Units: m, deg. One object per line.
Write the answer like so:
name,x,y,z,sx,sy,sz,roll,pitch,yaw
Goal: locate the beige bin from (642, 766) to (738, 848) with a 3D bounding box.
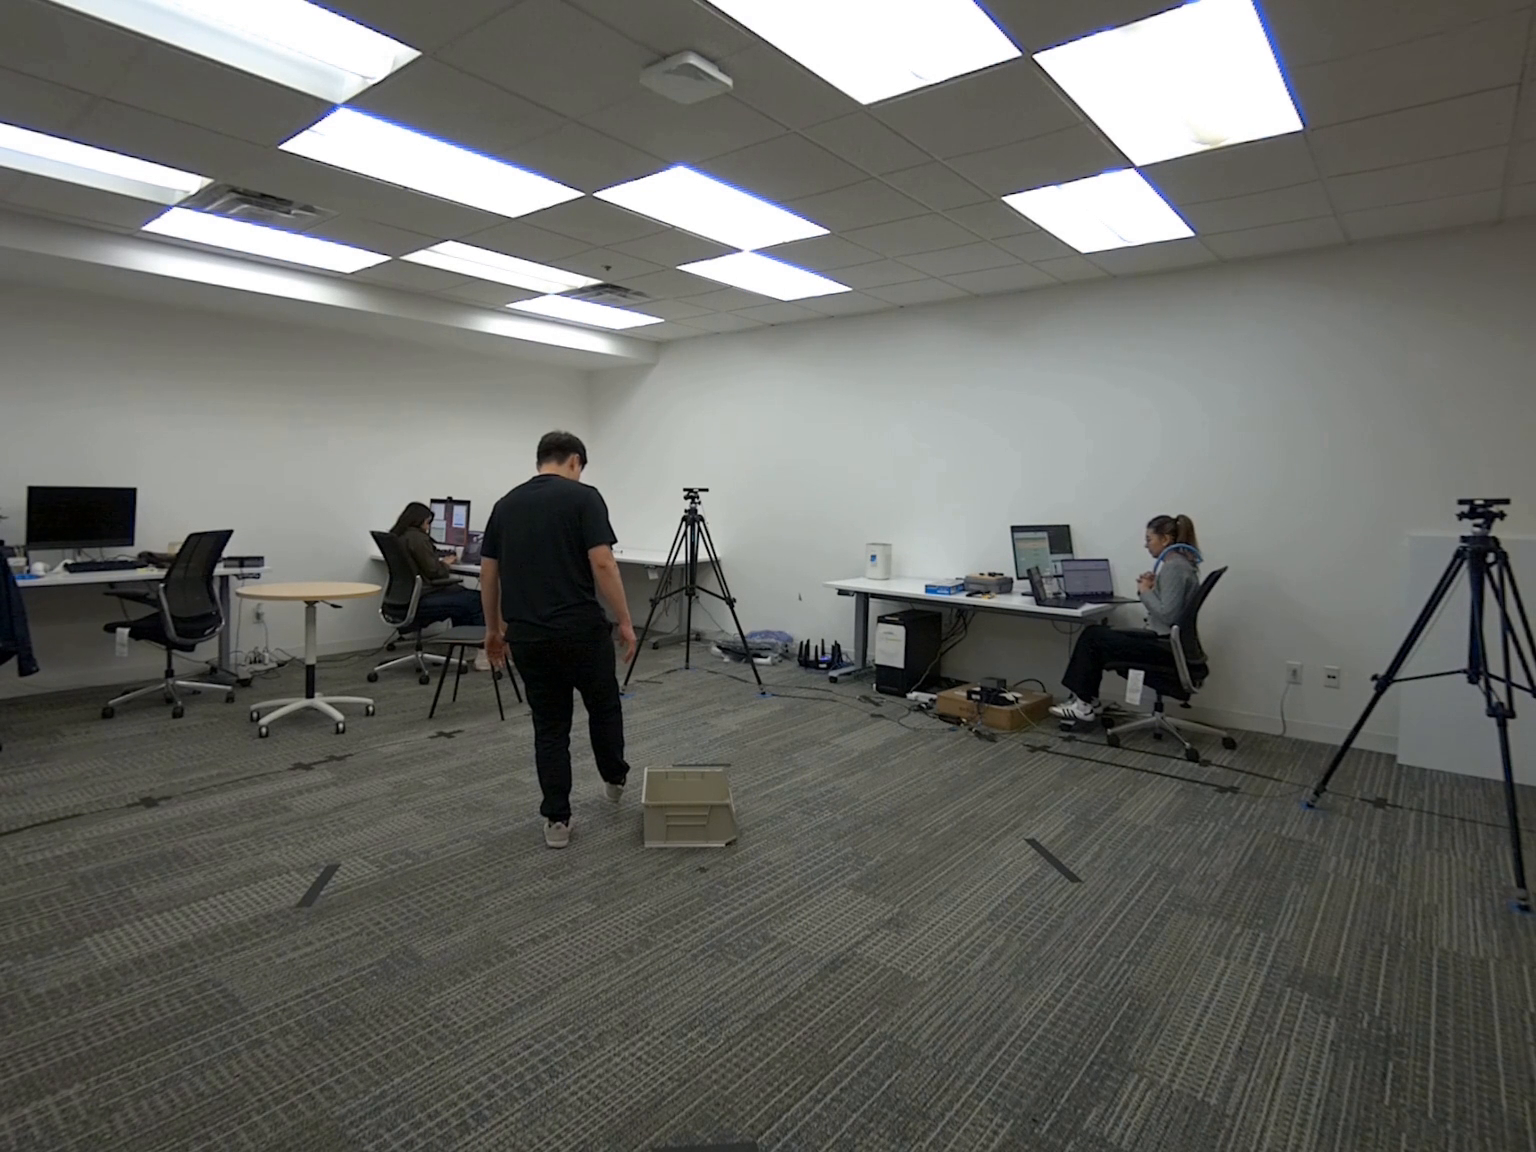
beige bin,-0.338,0.942,3.499,0.375,0.188,0.427,0,7,-6
